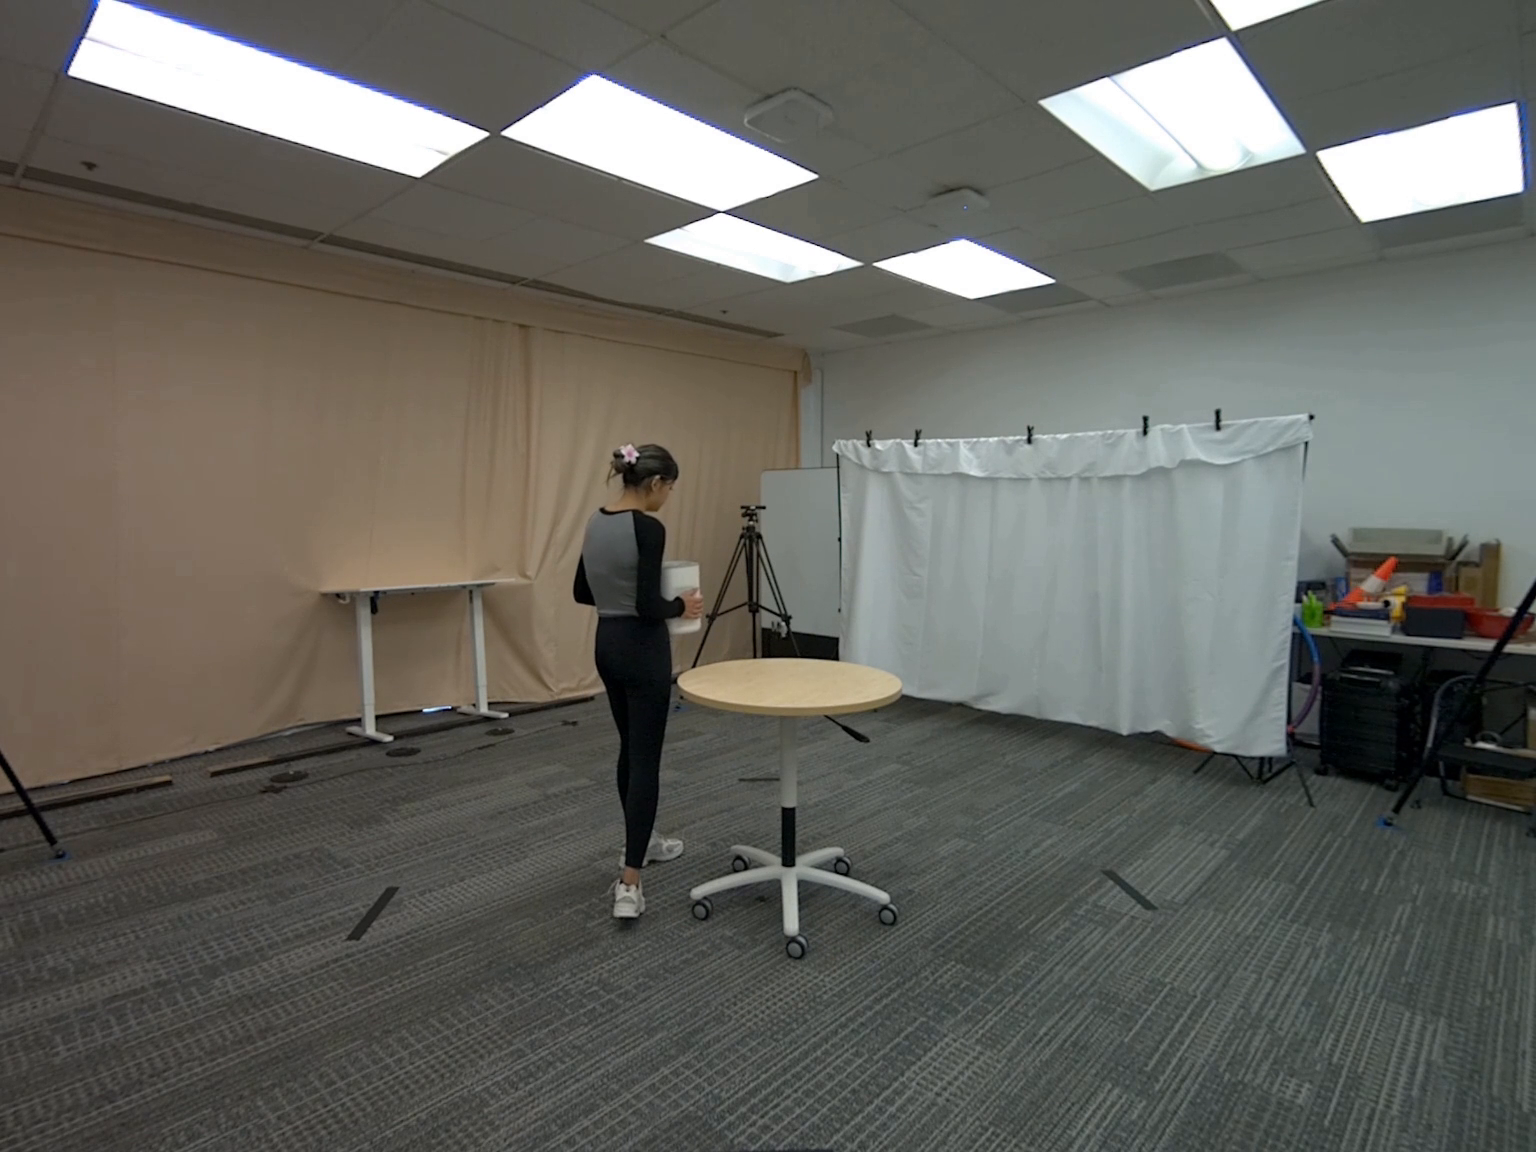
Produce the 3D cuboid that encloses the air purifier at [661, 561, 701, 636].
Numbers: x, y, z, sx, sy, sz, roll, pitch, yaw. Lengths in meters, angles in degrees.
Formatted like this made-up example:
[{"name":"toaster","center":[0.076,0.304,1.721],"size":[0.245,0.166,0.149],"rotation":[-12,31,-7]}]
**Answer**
[{"name":"air purifier","center":[-0.367,0.086,3.216],"size":[0.167,0.264,0.177],"rotation":[-7,9,-37]}]
